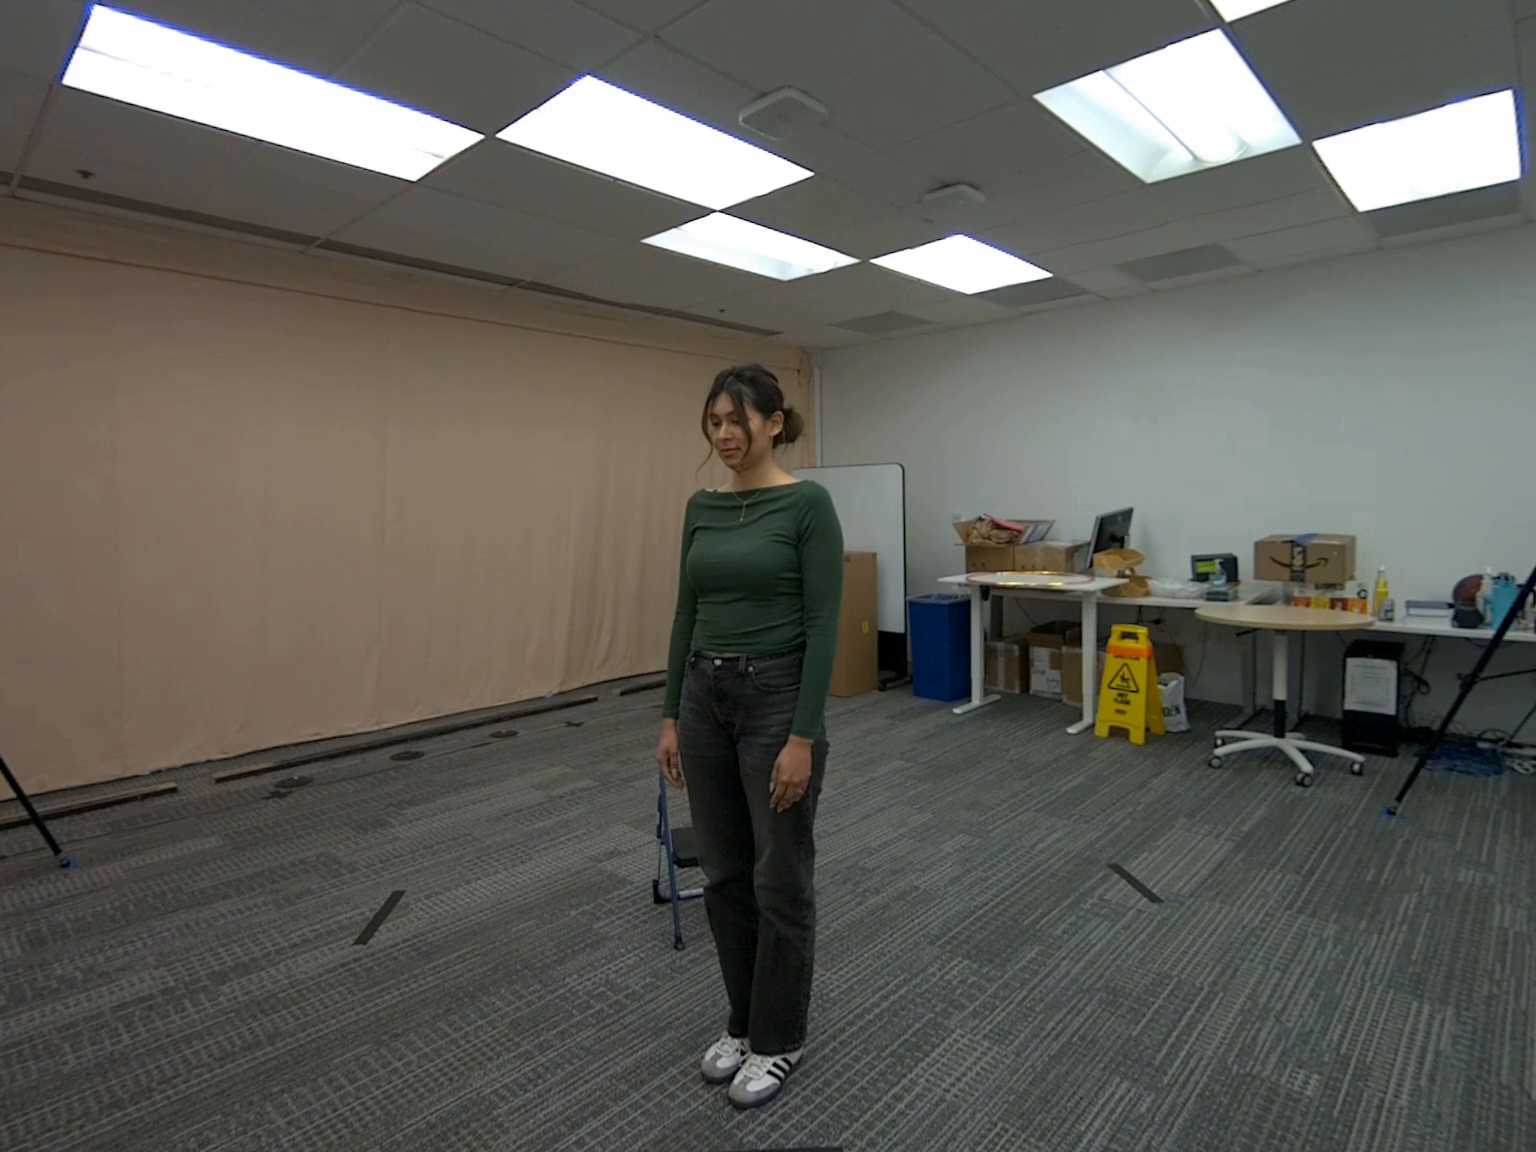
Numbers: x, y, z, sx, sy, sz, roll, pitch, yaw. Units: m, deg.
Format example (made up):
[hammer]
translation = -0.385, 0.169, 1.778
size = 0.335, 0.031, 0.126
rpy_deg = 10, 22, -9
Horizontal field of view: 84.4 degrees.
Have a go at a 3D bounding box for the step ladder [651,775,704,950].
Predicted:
[step ladder]
translation = -0.154, 0.850, 2.851
size = 0.422, 0.604, 0.357
rpy_deg = -2, 4, -19
